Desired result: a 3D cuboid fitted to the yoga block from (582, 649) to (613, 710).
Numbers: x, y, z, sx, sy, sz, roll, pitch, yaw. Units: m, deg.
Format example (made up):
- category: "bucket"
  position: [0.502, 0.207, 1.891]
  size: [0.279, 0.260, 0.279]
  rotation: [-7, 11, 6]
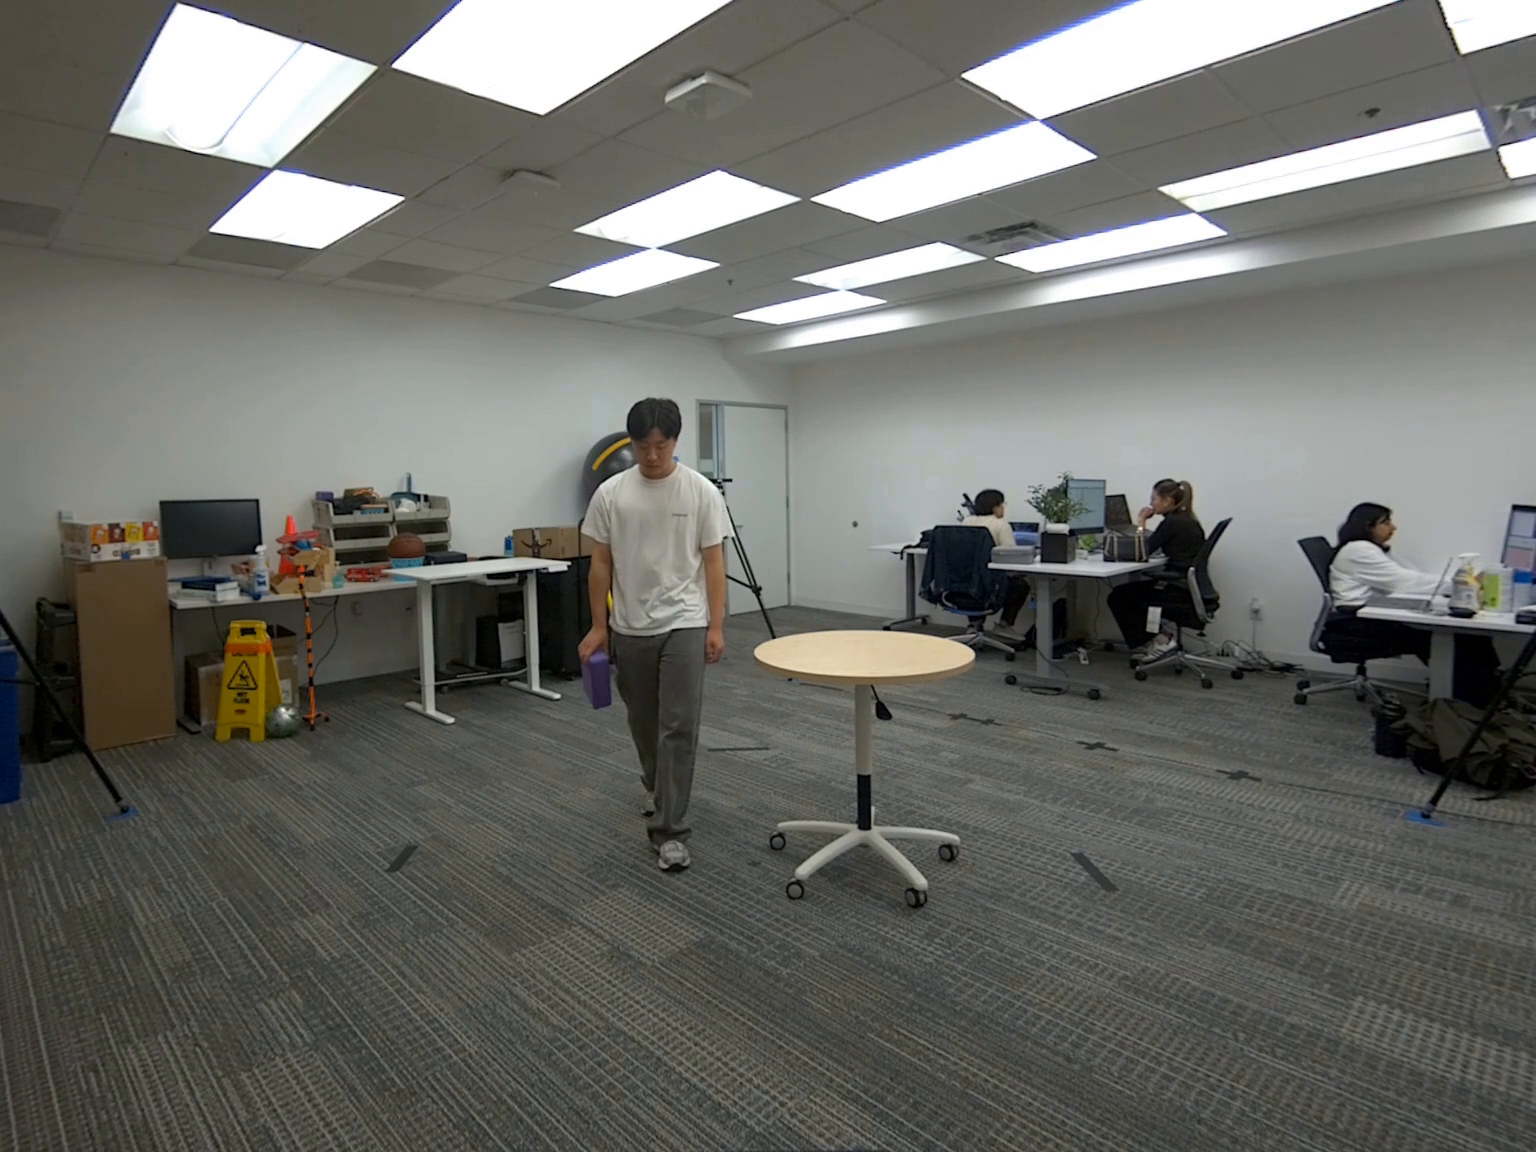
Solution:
- category: "yoga block"
  position: [-0.669, 0.390, 3.362]
  size: [0.075, 0.224, 0.154]
  rotation: [-11, 26, -21]
